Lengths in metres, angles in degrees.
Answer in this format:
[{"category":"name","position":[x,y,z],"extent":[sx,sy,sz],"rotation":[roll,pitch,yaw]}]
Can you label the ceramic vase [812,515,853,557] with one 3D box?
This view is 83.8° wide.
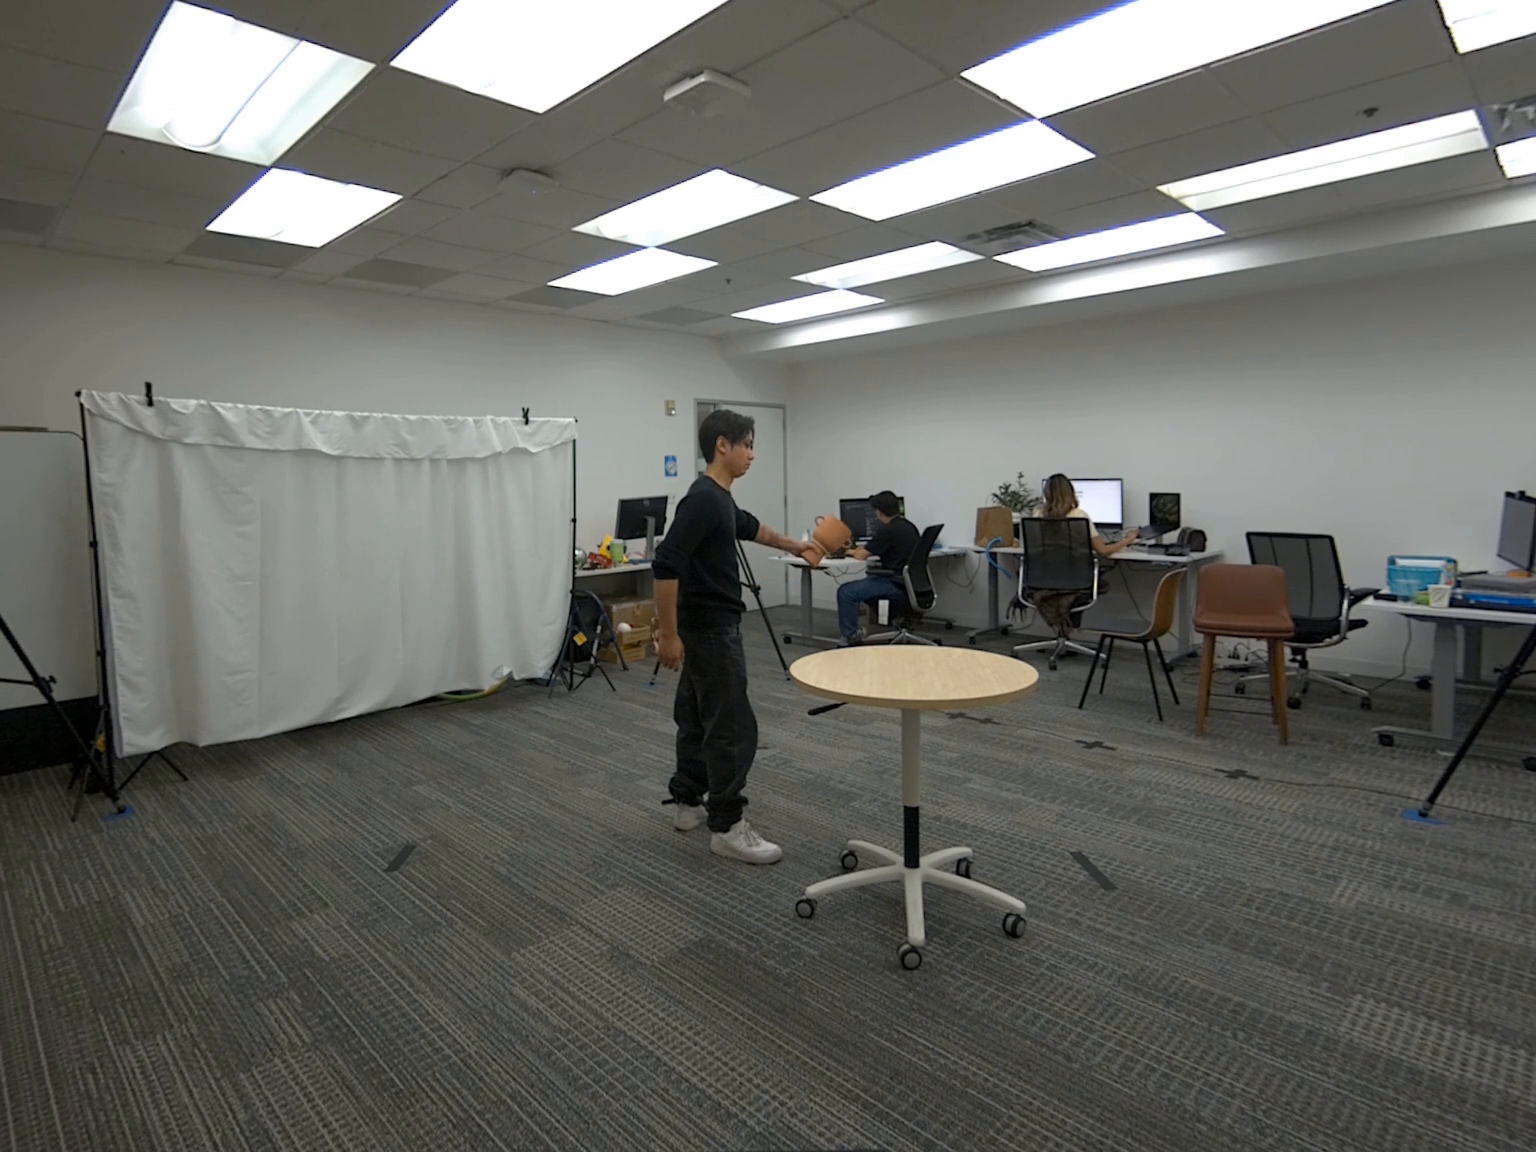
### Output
[{"category":"ceramic vase","position":[0.237,-0.141,3.732],"extent":[0.165,0.220,0.129],"rotation":[41,-3,42]}]
